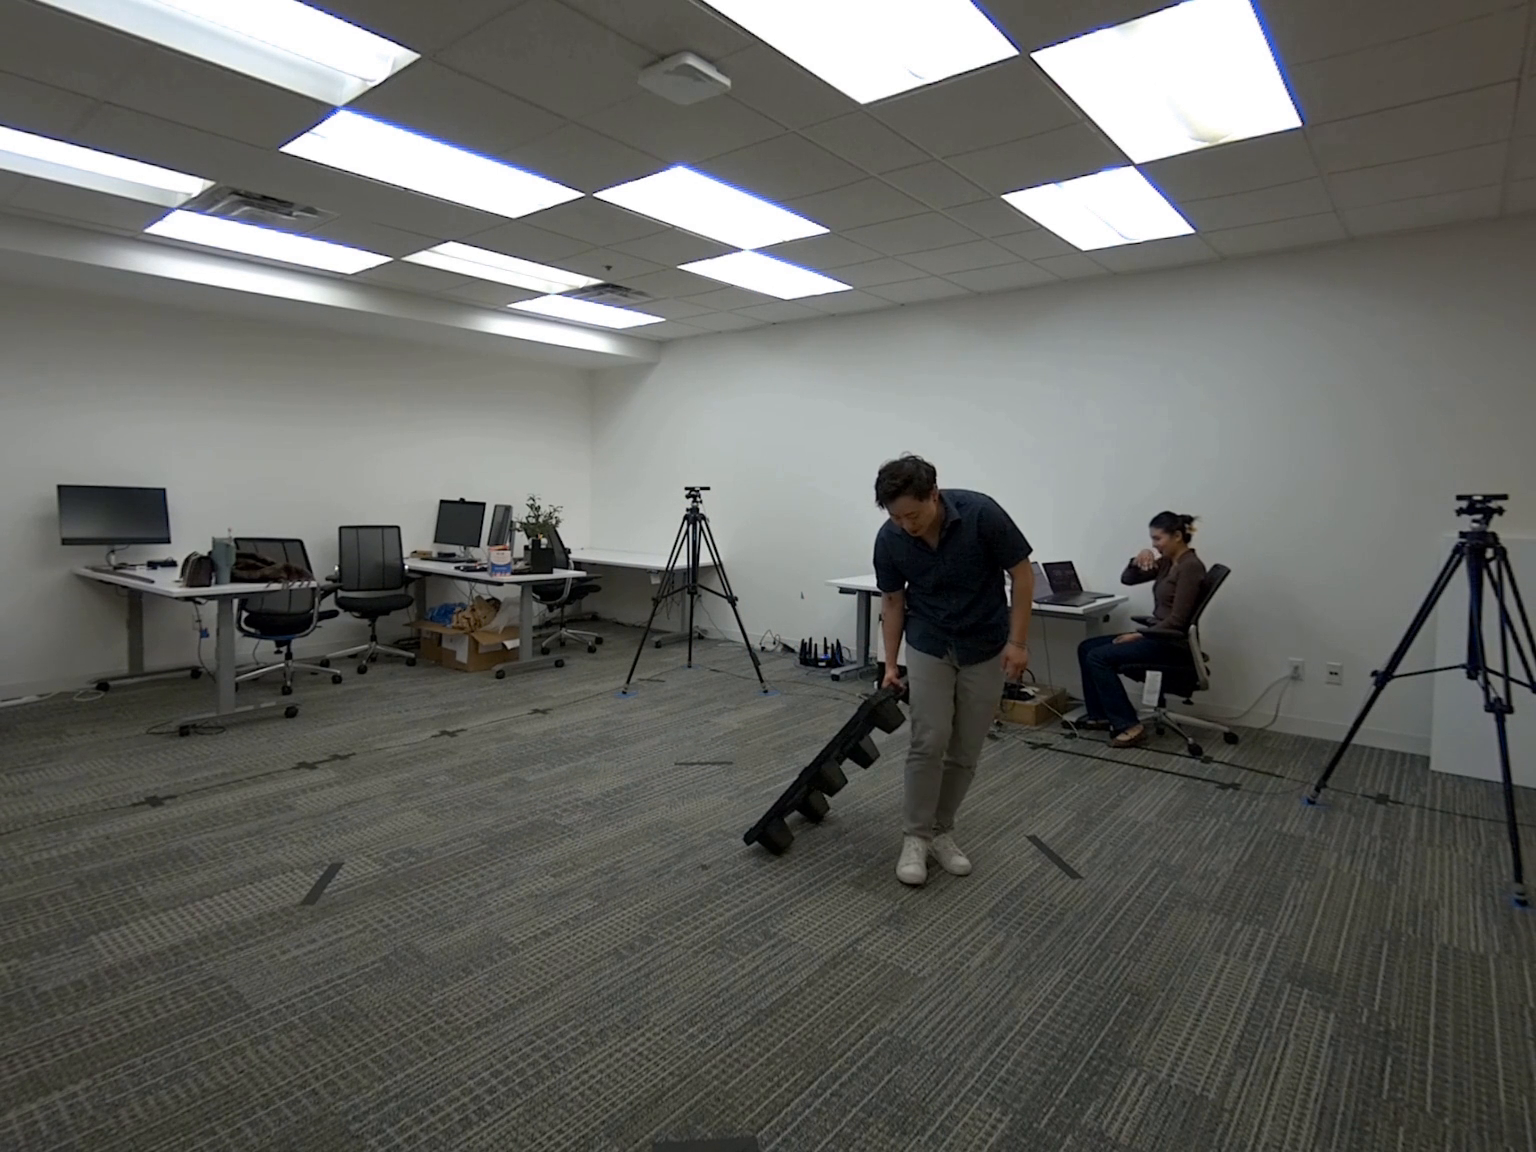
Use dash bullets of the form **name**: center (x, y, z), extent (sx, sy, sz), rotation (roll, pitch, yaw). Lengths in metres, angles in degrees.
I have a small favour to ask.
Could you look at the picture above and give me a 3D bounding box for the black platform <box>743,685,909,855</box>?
- **black platform**: center (0.290, 0.727, 3.328), extent (0.147, 0.803, 0.590), rotation (45, 21, 18)
